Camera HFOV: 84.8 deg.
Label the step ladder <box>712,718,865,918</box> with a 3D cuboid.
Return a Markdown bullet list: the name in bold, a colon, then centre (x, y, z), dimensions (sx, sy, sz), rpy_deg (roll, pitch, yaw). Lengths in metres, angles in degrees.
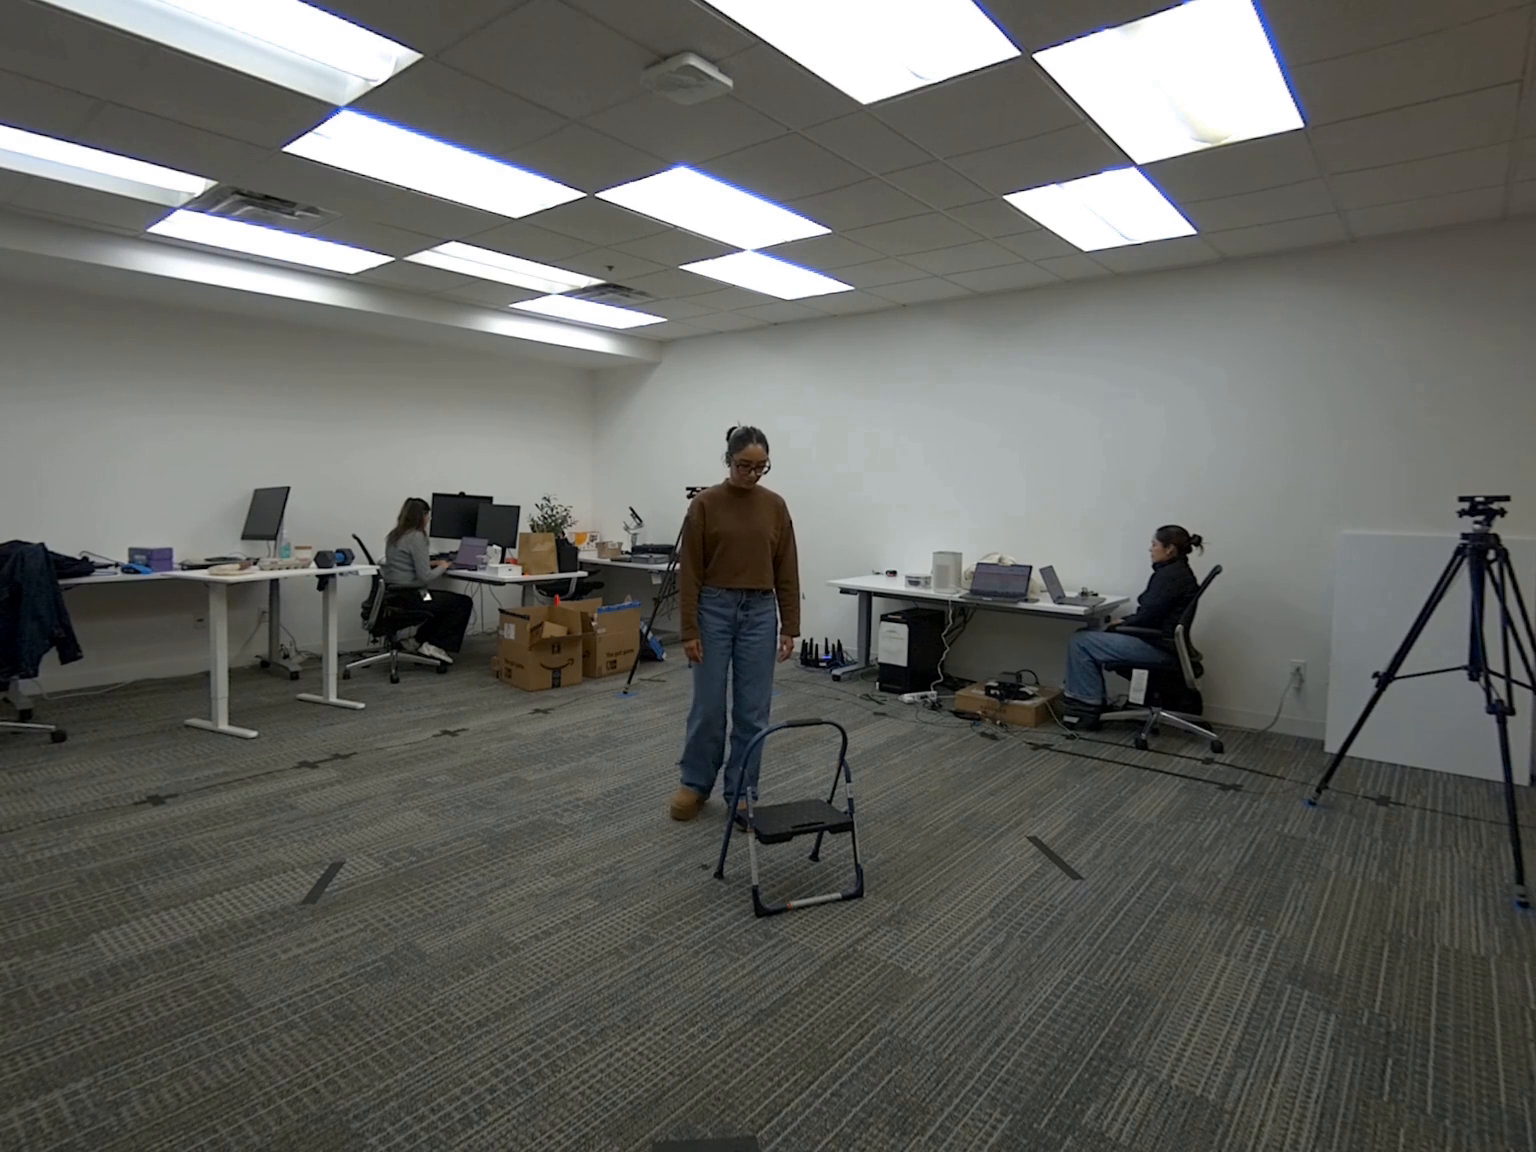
- **step ladder**: centre (0.070, 0.781, 2.975), dimensions (0.420, 0.605, 0.359), rpy_deg (0, 3, -26)
